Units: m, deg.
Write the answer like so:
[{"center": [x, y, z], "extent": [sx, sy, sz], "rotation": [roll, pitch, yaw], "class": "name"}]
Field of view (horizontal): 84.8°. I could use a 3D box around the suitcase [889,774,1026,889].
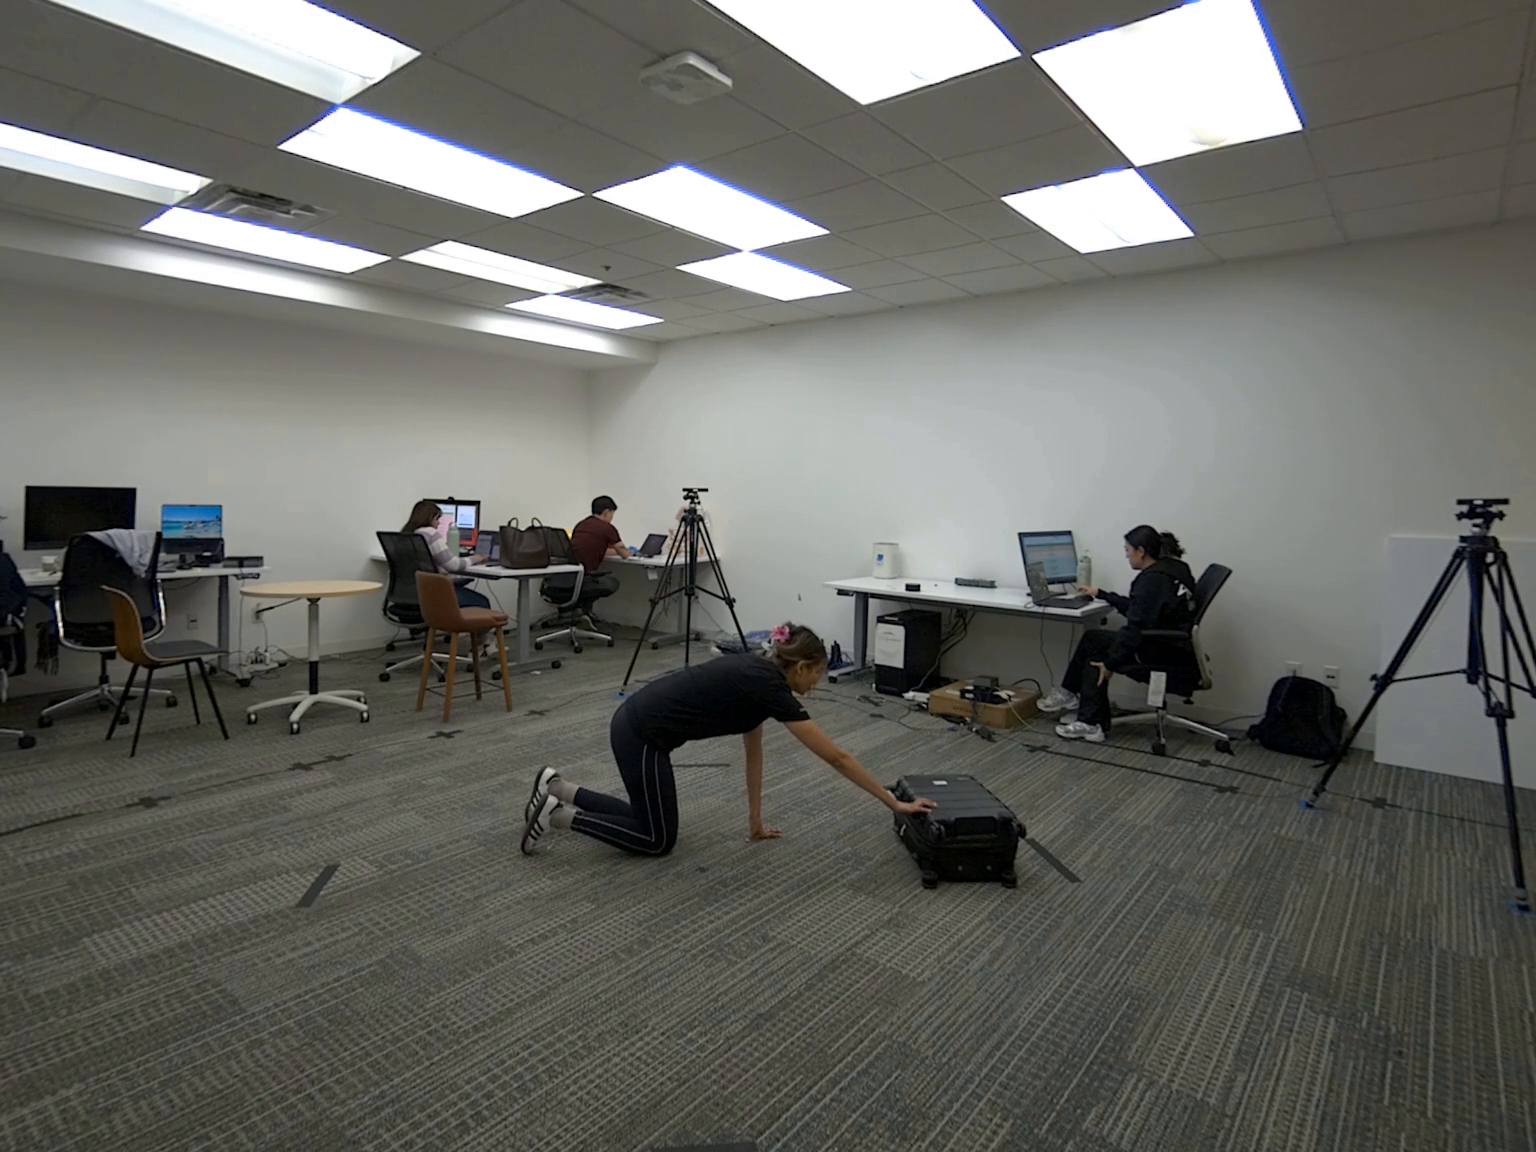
[{"center": [0.678, 0.932, 3.478], "extent": [0.382, 0.255, 0.990], "rotation": [-1, 8, -7], "class": "suitcase"}]
